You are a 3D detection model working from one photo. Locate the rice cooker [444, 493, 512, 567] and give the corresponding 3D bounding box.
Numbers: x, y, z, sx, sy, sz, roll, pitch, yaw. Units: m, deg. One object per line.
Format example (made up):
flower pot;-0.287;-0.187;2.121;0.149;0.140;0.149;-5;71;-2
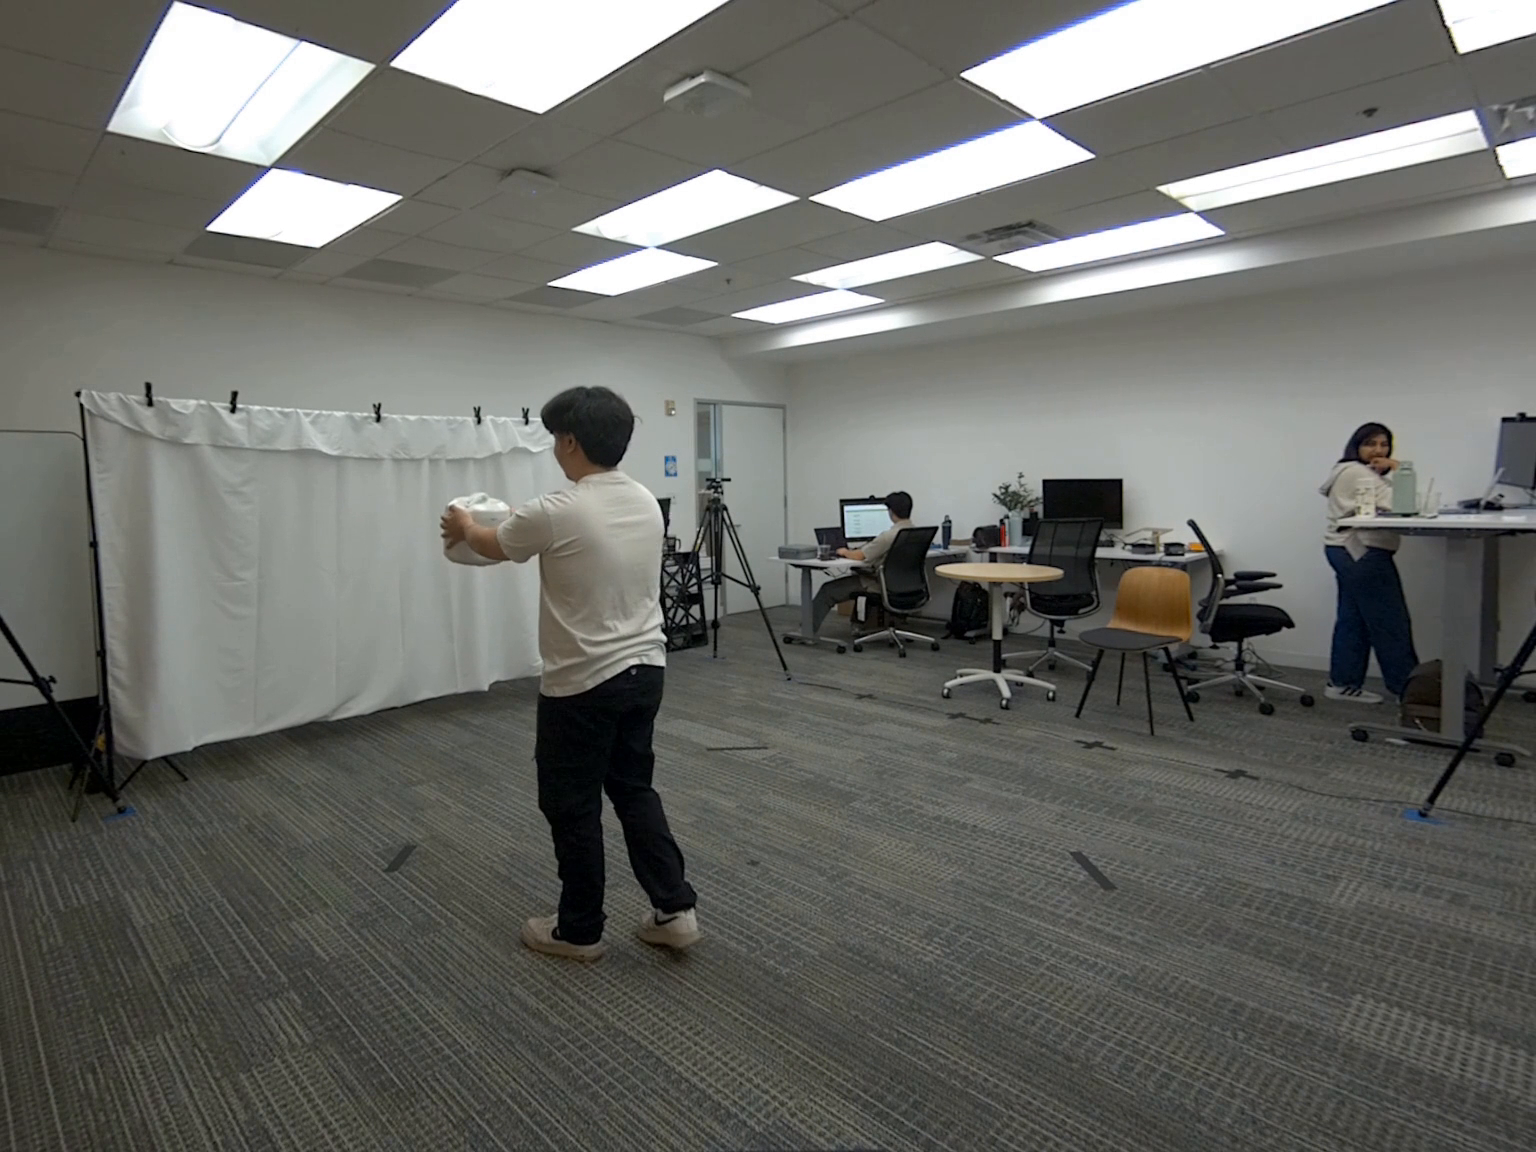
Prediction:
rice cooker;-0.965;-0.163;2.857;0.218;0.231;0.221;6;11;4
